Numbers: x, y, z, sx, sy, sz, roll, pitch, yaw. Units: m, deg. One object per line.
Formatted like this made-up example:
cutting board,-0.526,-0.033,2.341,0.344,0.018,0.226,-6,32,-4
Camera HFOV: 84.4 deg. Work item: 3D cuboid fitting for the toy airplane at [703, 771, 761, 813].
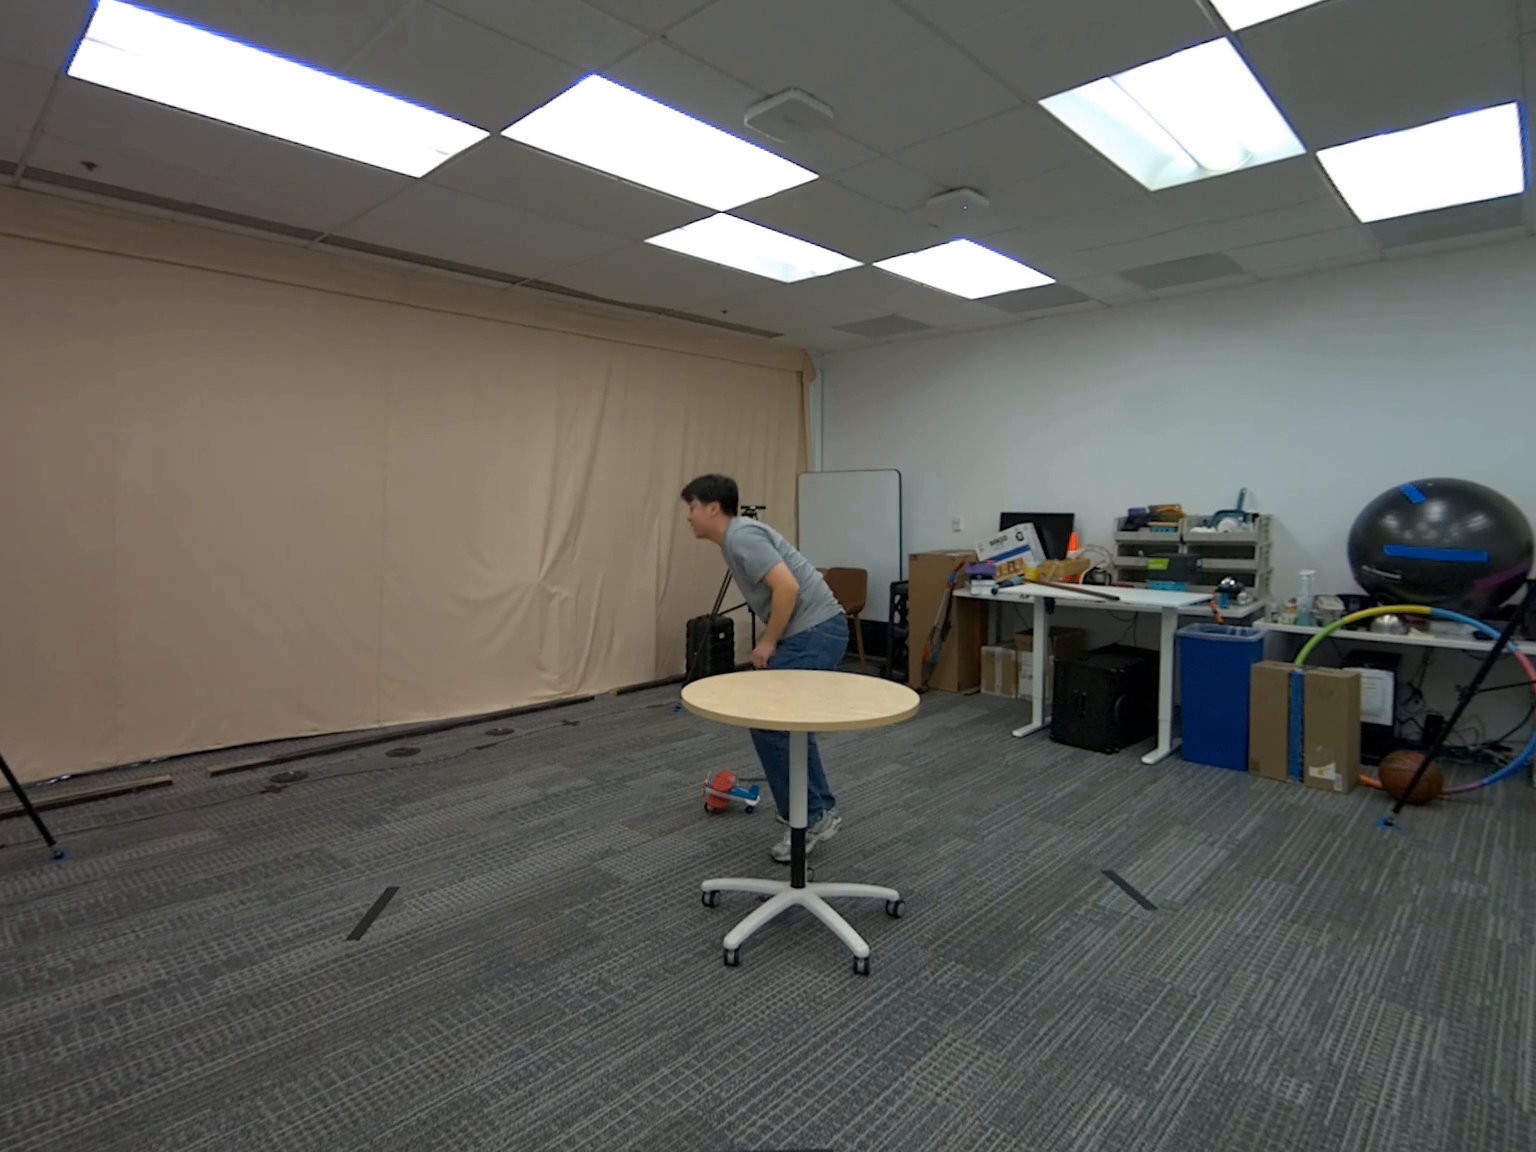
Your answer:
toy airplane,-0.171,1.000,3.875,0.255,0.156,0.256,-2,4,-17
